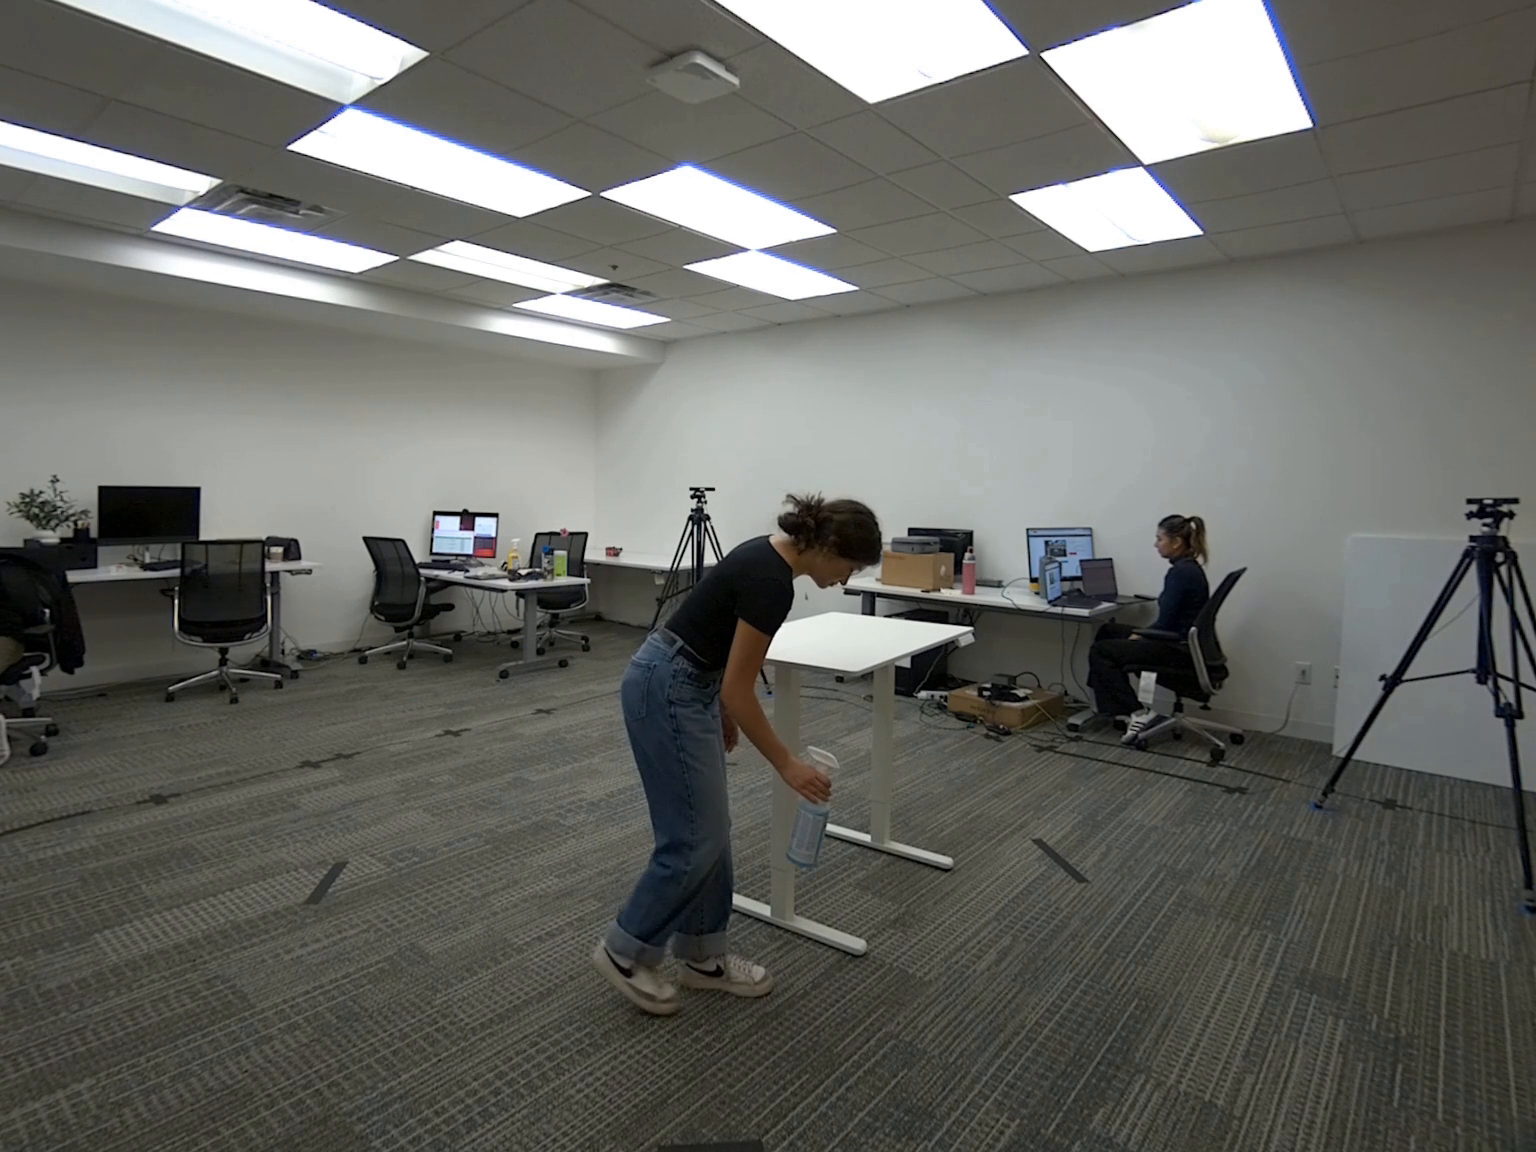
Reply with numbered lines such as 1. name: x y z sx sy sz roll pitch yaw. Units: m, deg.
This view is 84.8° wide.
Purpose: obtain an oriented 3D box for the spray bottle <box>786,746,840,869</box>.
1. spray bottle: 0.109 0.596 2.193 0.093 0.296 0.084 16 5 39
